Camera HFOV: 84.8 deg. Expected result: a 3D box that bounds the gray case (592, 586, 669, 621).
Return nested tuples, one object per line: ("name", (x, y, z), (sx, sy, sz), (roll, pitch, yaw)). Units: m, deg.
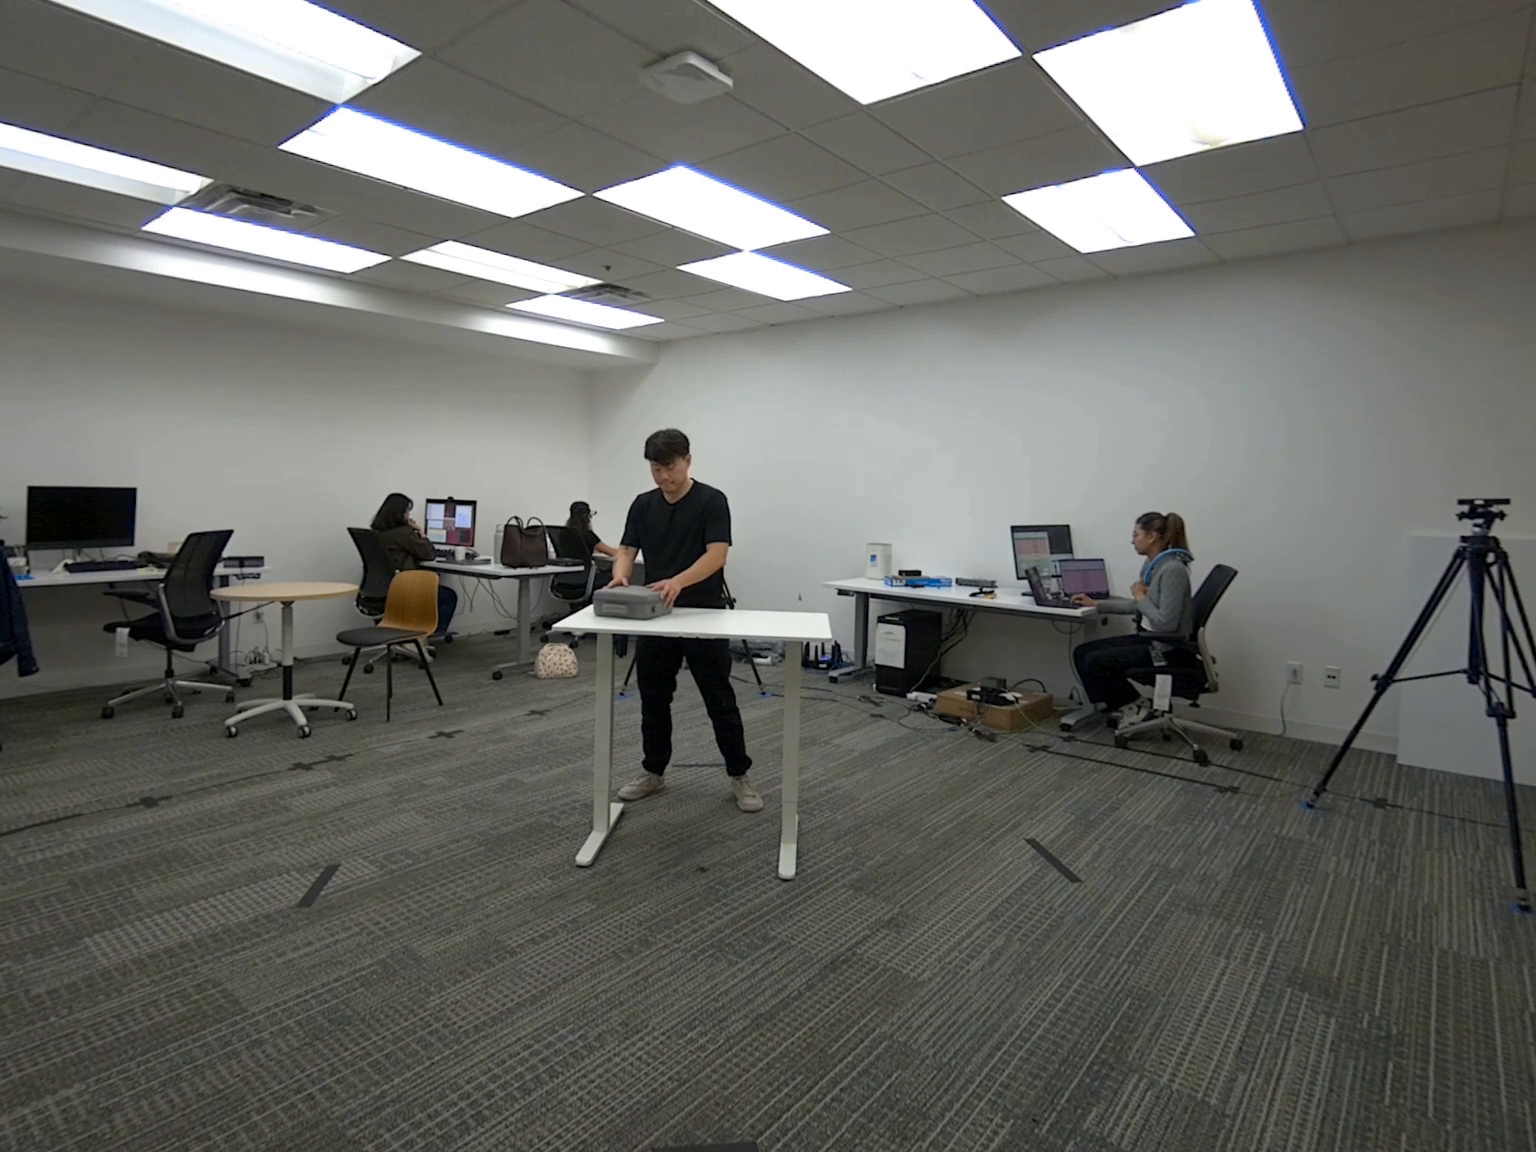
("gray case", (-0.547, 0.101, 3.389), (0.263, 0.104, 0.256), (4, 5, 20))
